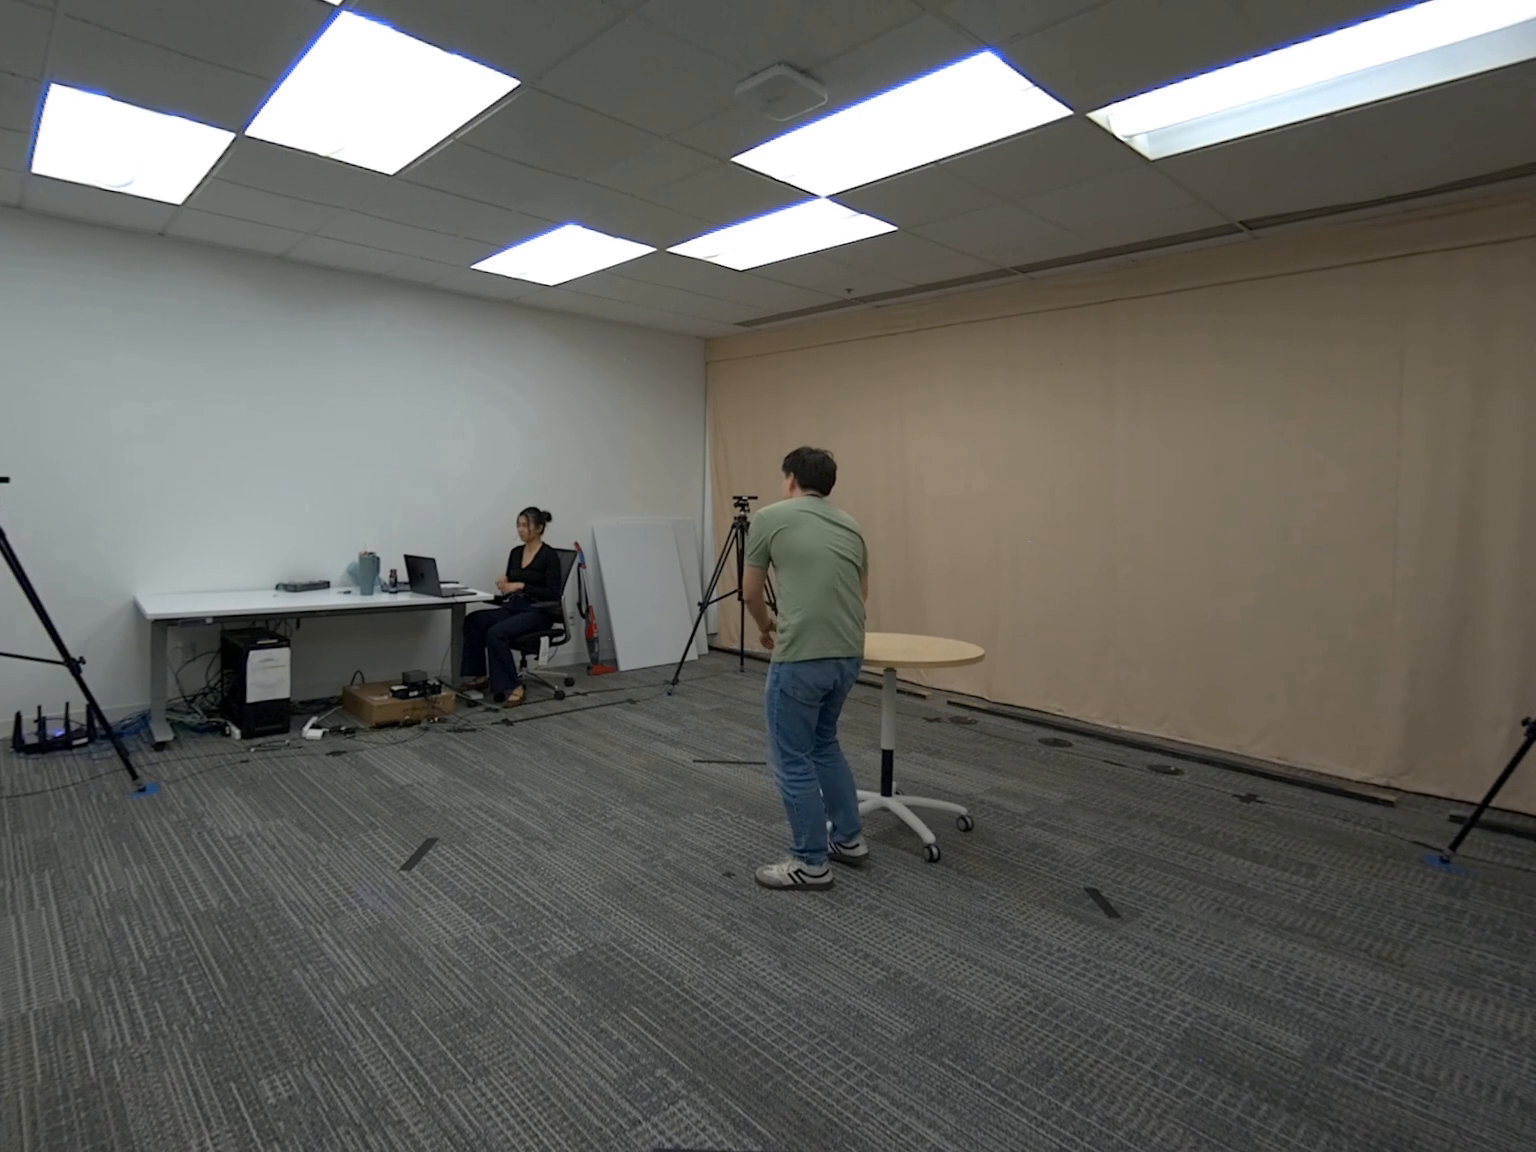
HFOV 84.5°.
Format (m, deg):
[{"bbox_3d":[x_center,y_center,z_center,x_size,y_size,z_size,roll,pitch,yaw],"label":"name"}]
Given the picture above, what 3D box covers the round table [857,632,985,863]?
[{"bbox_3d":[0.497,0.689,3.579,0.763,0.792,0.766,2,3,-1],"label":"round table"}]
